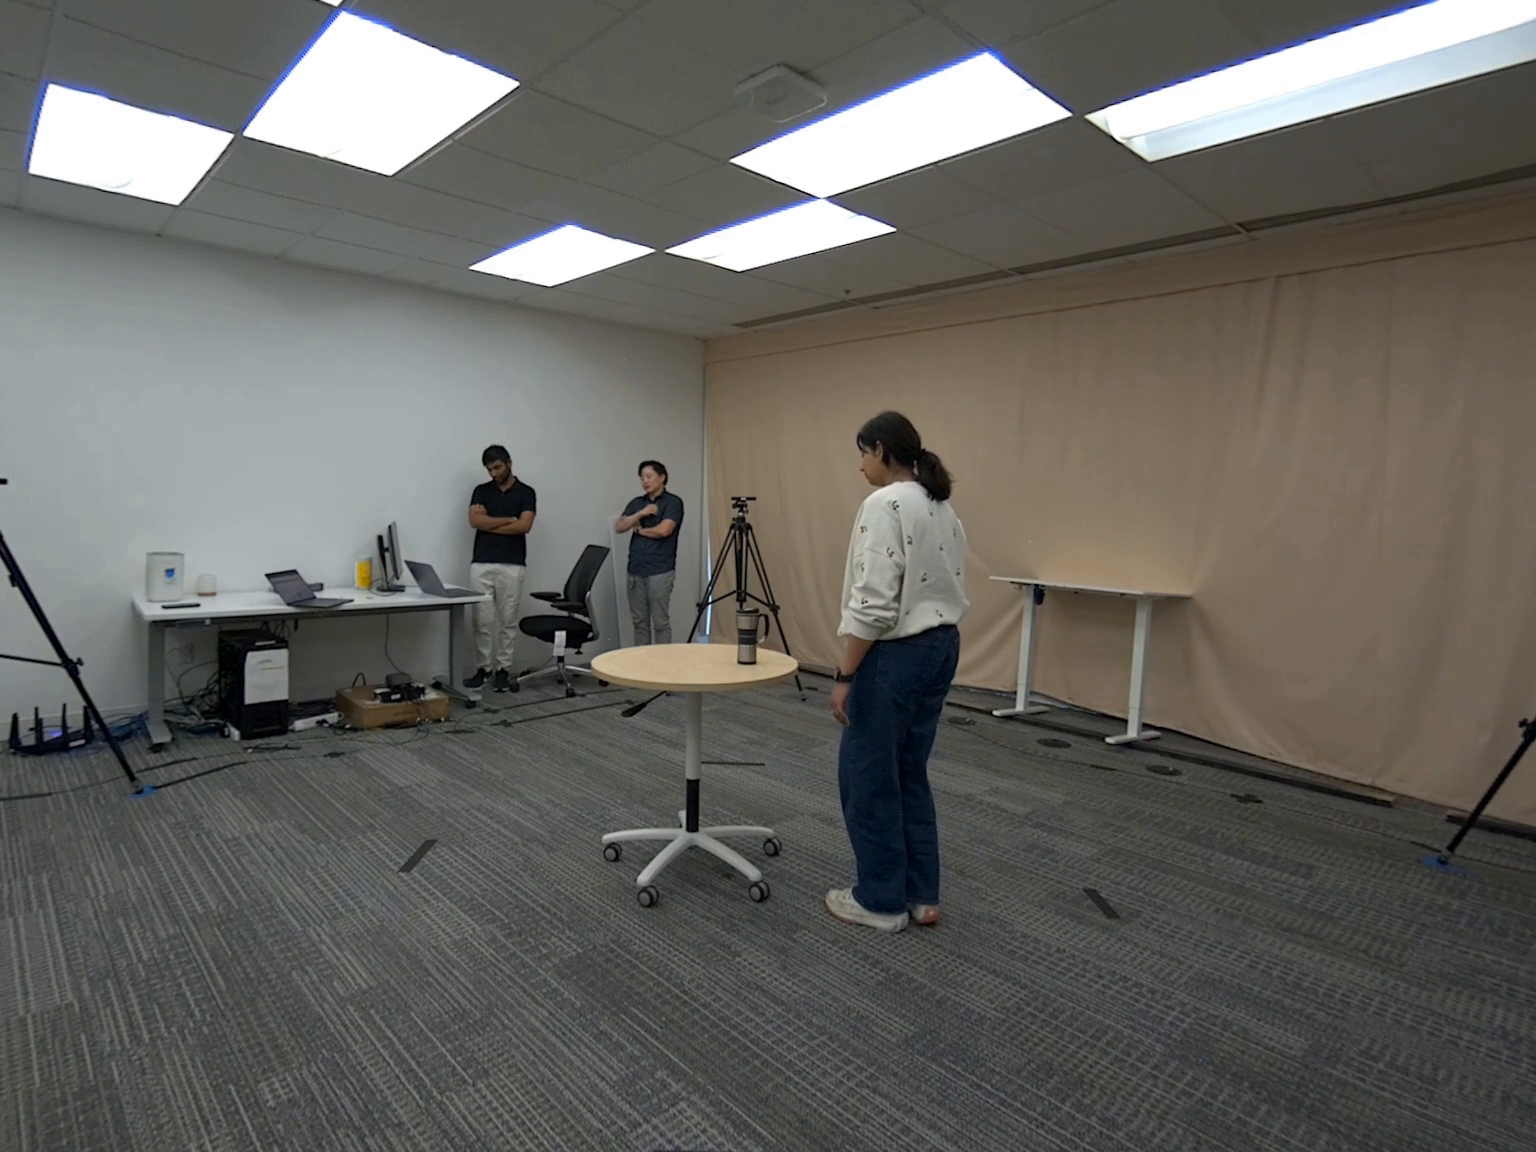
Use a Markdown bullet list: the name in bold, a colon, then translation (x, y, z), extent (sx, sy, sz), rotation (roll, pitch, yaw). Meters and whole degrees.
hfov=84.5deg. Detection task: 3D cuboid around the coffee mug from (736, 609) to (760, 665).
- **coffee mug**: translation (-0.065, 0.226, 3.093), extent (0.124, 0.203, 0.086), rotation (1, 1, 26)
